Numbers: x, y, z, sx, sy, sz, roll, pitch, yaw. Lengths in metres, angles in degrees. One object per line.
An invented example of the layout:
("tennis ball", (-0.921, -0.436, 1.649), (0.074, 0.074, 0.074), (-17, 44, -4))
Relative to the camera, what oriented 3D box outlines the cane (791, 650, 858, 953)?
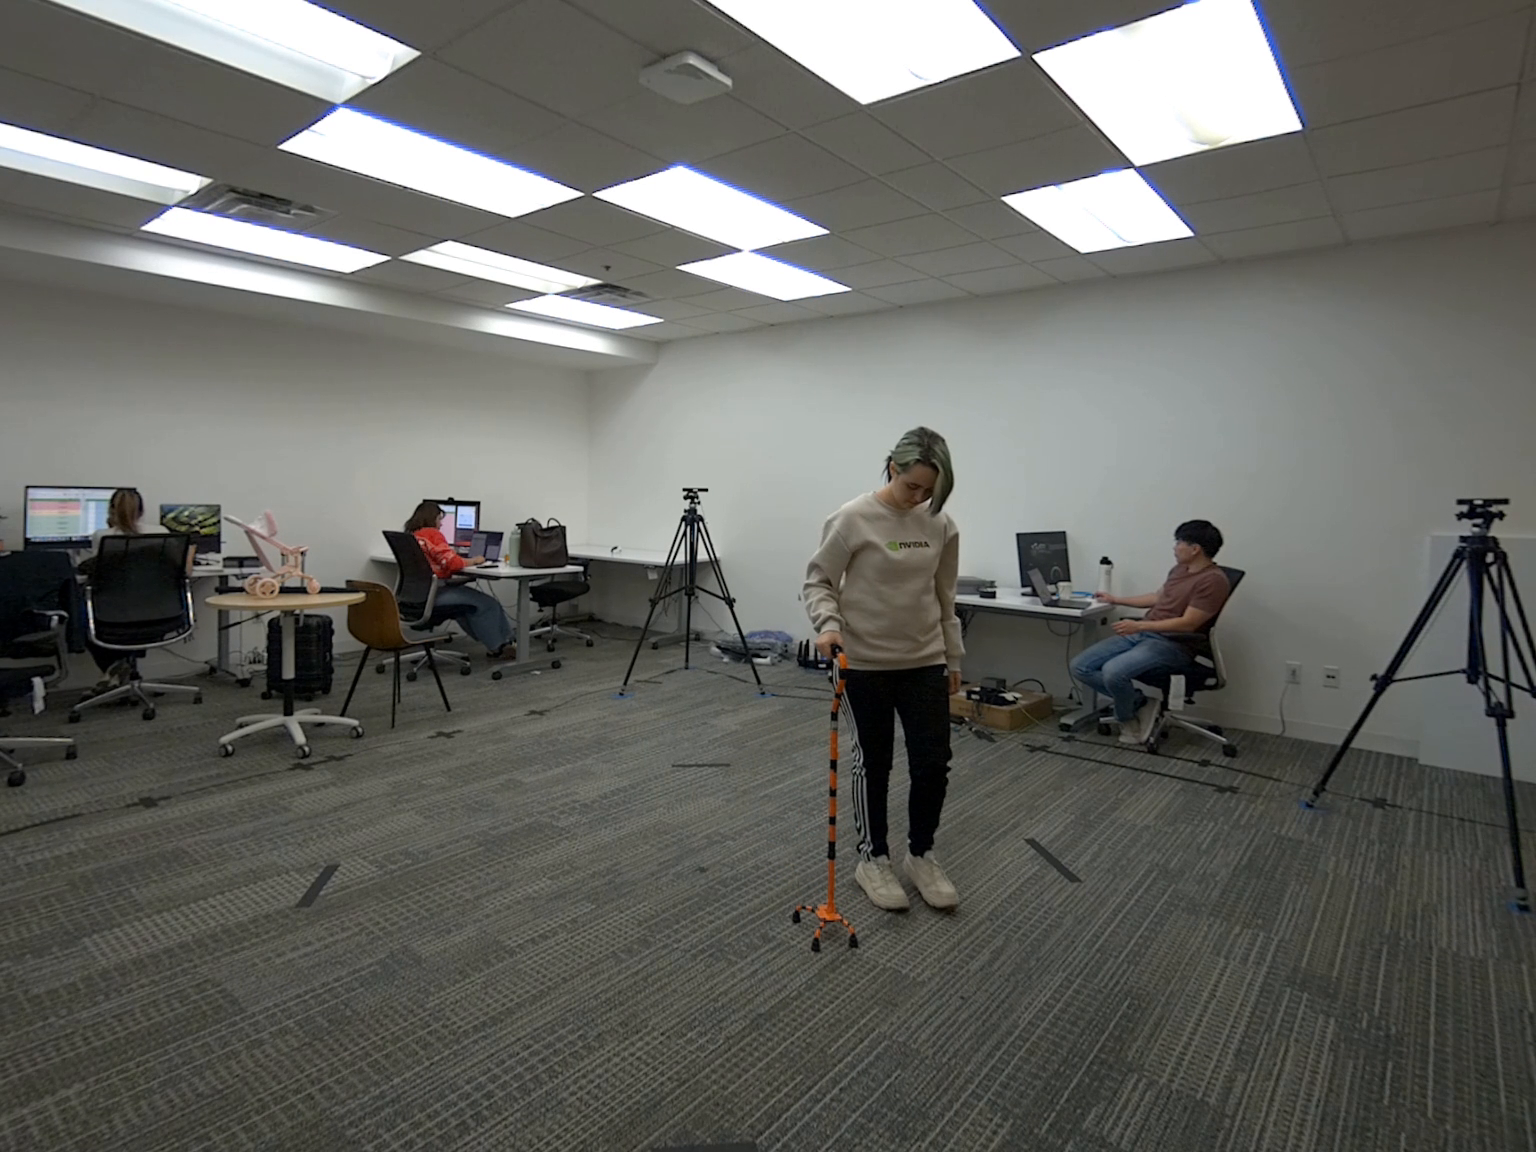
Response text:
("cane", (0.182, 0.673, 2.651), (0.149, 0.905, 0.211), (0, 4, -18))
